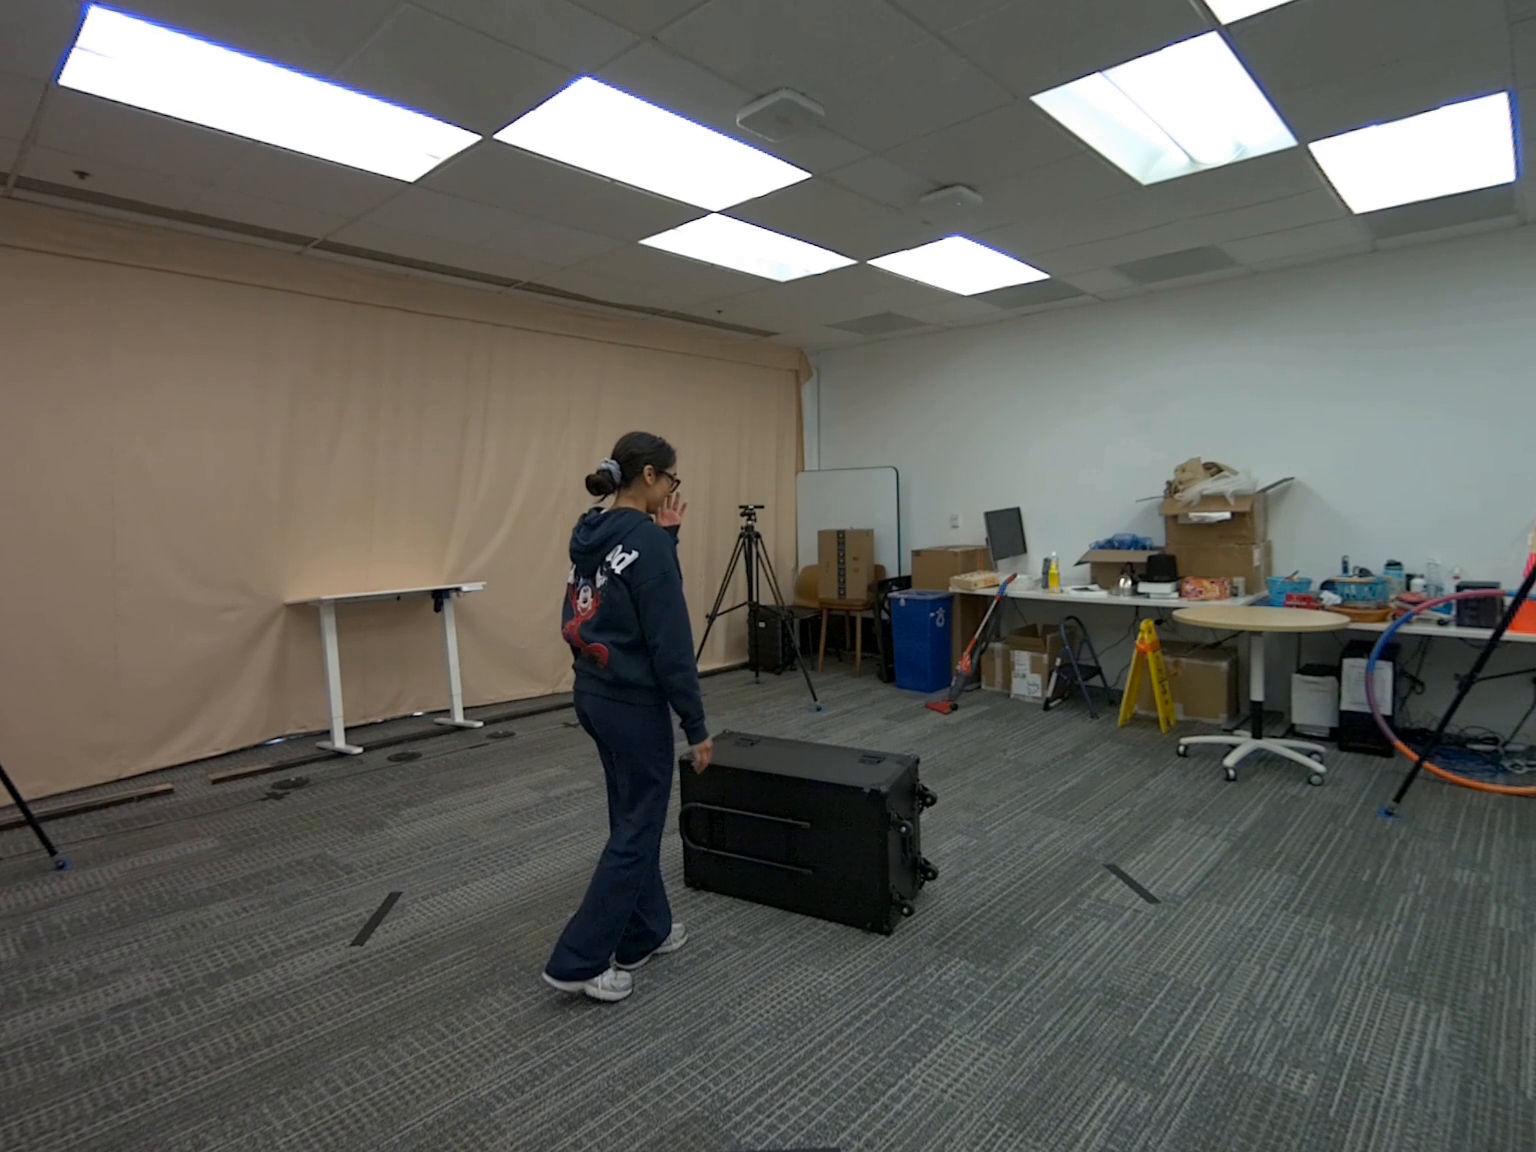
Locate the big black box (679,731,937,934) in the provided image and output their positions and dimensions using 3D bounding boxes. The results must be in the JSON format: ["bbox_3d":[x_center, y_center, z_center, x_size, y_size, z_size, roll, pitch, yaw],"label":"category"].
[{"bbox_3d":[0.138,0.882,2.996,0.885,0.519,0.387,1,7,28],"label":"big black box"}]
